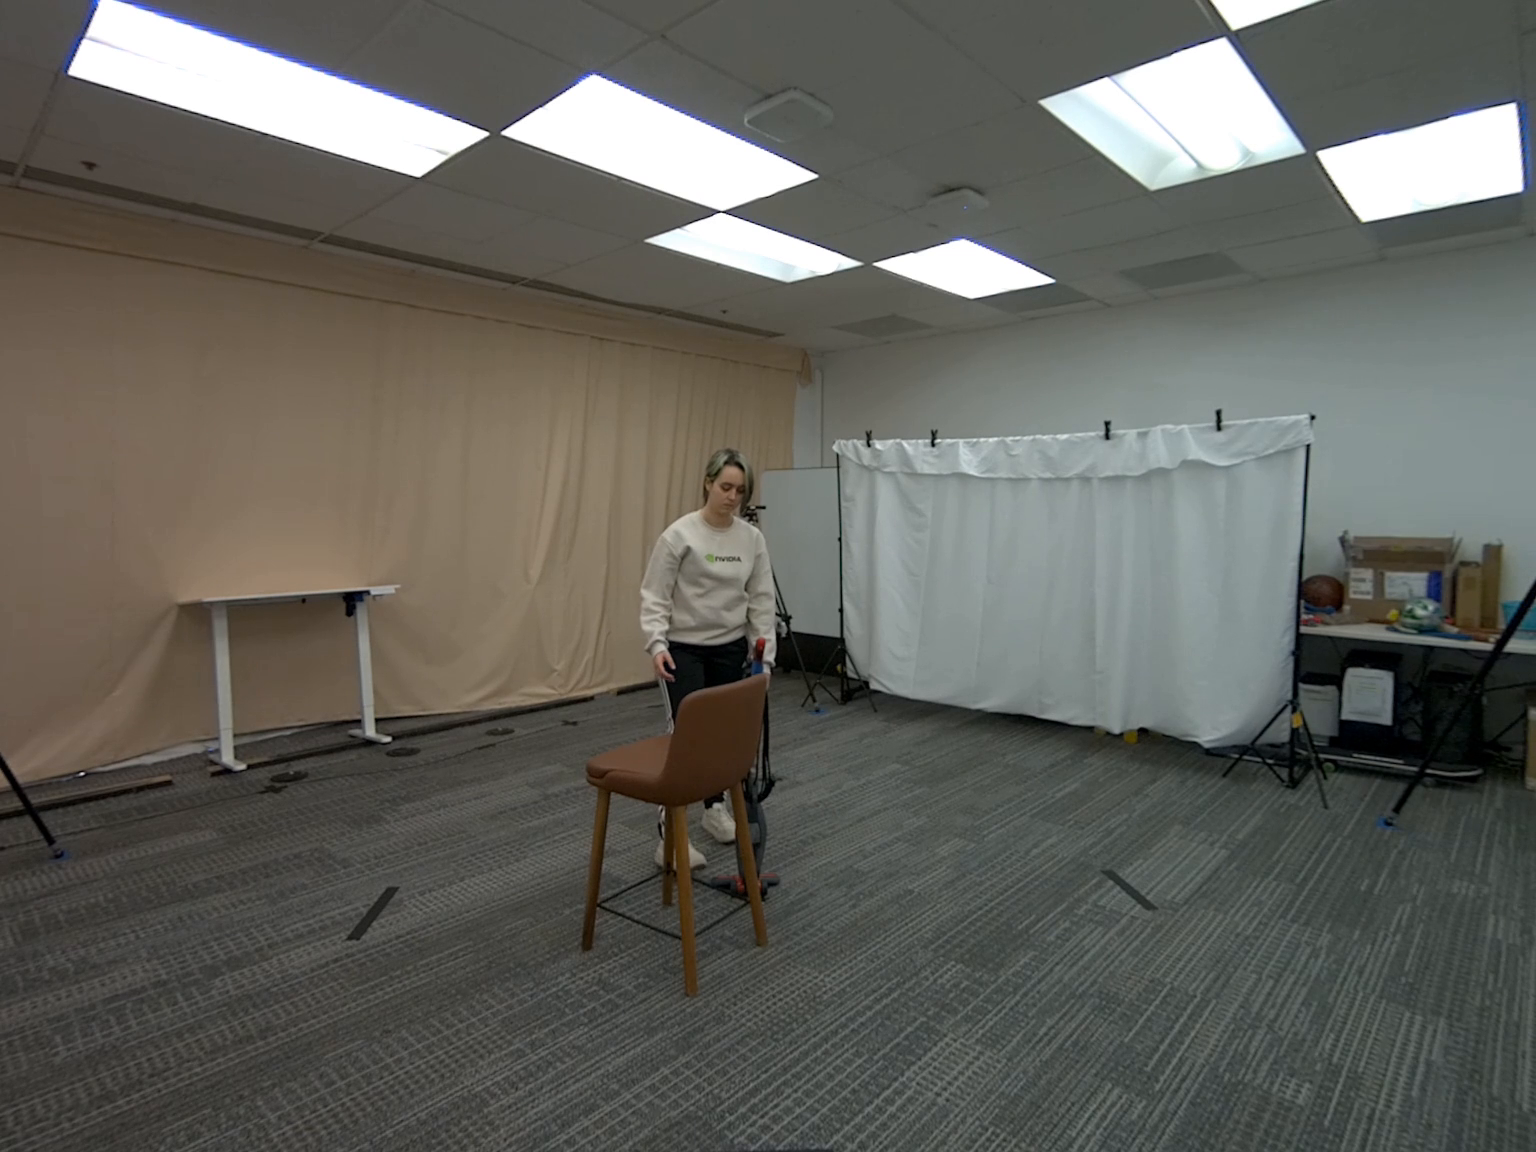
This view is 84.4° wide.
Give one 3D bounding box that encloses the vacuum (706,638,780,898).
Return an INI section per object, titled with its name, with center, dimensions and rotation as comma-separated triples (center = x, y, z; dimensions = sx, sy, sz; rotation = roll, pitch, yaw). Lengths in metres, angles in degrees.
[vacuum]
center = -0.051, 0.667, 2.832
dimensions = 0.250, 1.035, 0.147
rotation = -2, 26, -9
